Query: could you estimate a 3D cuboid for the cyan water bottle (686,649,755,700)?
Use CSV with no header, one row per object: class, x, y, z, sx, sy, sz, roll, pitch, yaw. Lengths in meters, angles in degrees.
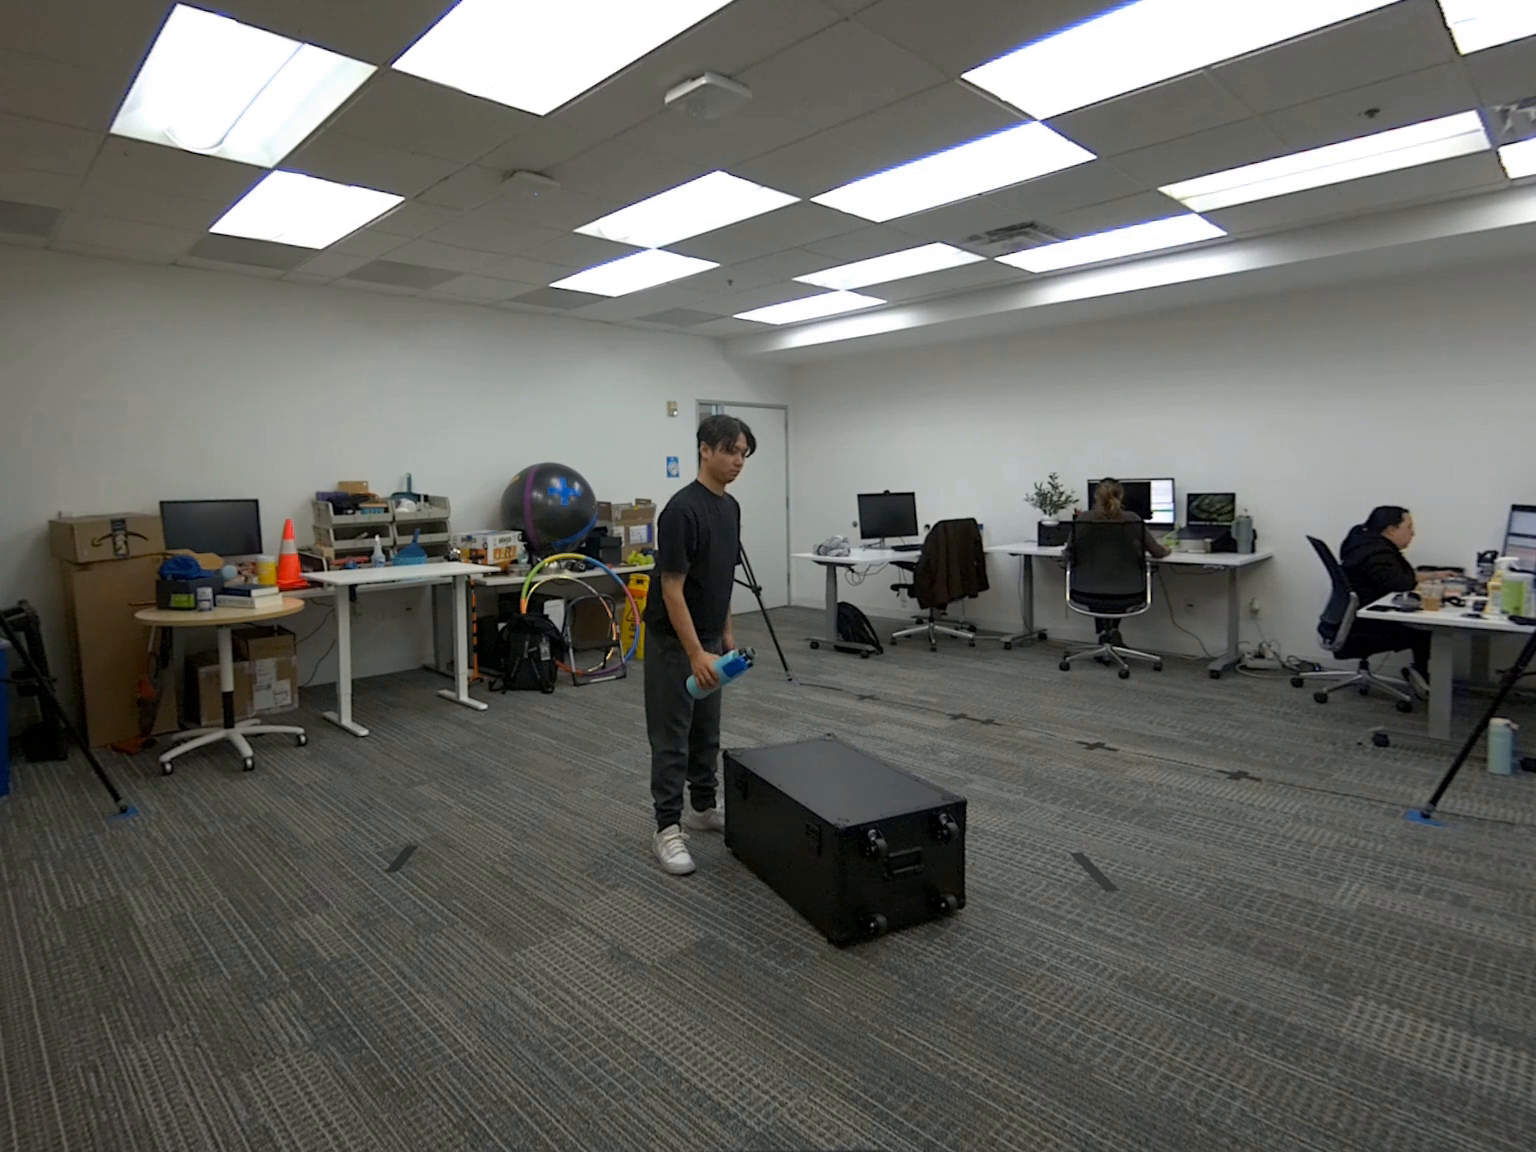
cyan water bottle,-0.153,0.331,2.987,0.285,0.094,0.090,-35,-15,32
